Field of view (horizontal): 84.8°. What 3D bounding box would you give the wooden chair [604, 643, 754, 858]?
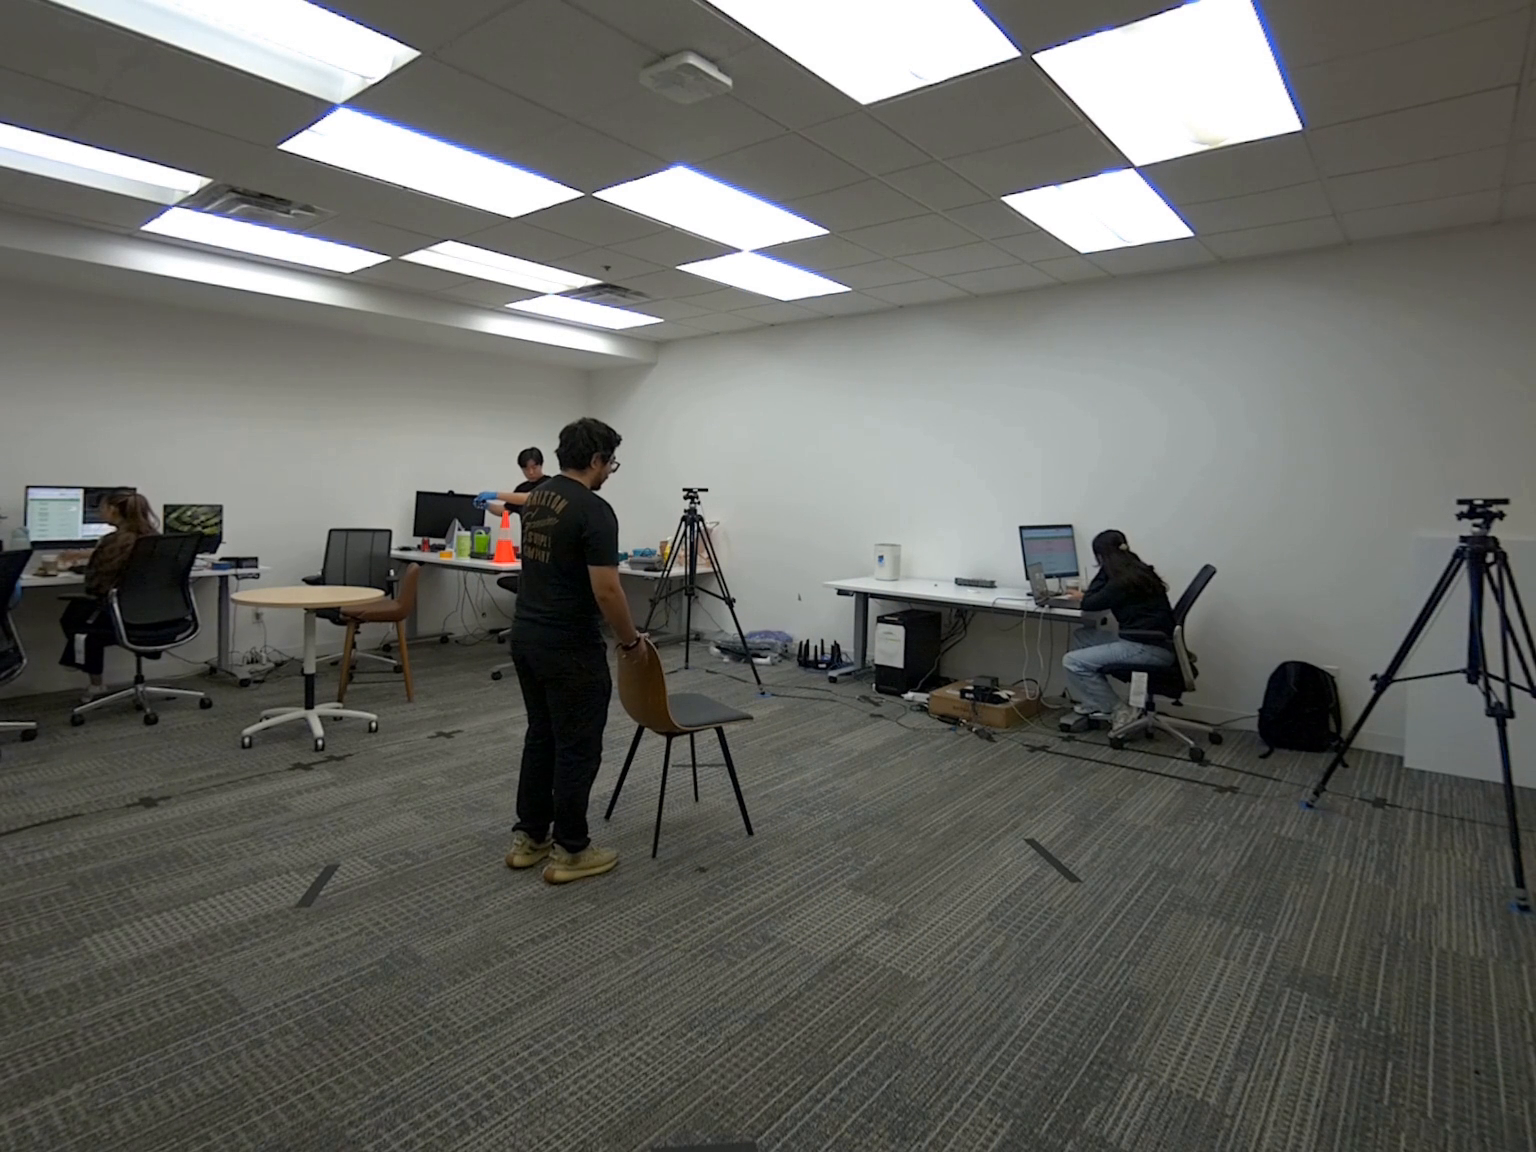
[{"bbox_3d":[-0.368,0.605,3.475,0.509,0.873,0.493,-6,6,-33],"label":"wooden chair"}]
